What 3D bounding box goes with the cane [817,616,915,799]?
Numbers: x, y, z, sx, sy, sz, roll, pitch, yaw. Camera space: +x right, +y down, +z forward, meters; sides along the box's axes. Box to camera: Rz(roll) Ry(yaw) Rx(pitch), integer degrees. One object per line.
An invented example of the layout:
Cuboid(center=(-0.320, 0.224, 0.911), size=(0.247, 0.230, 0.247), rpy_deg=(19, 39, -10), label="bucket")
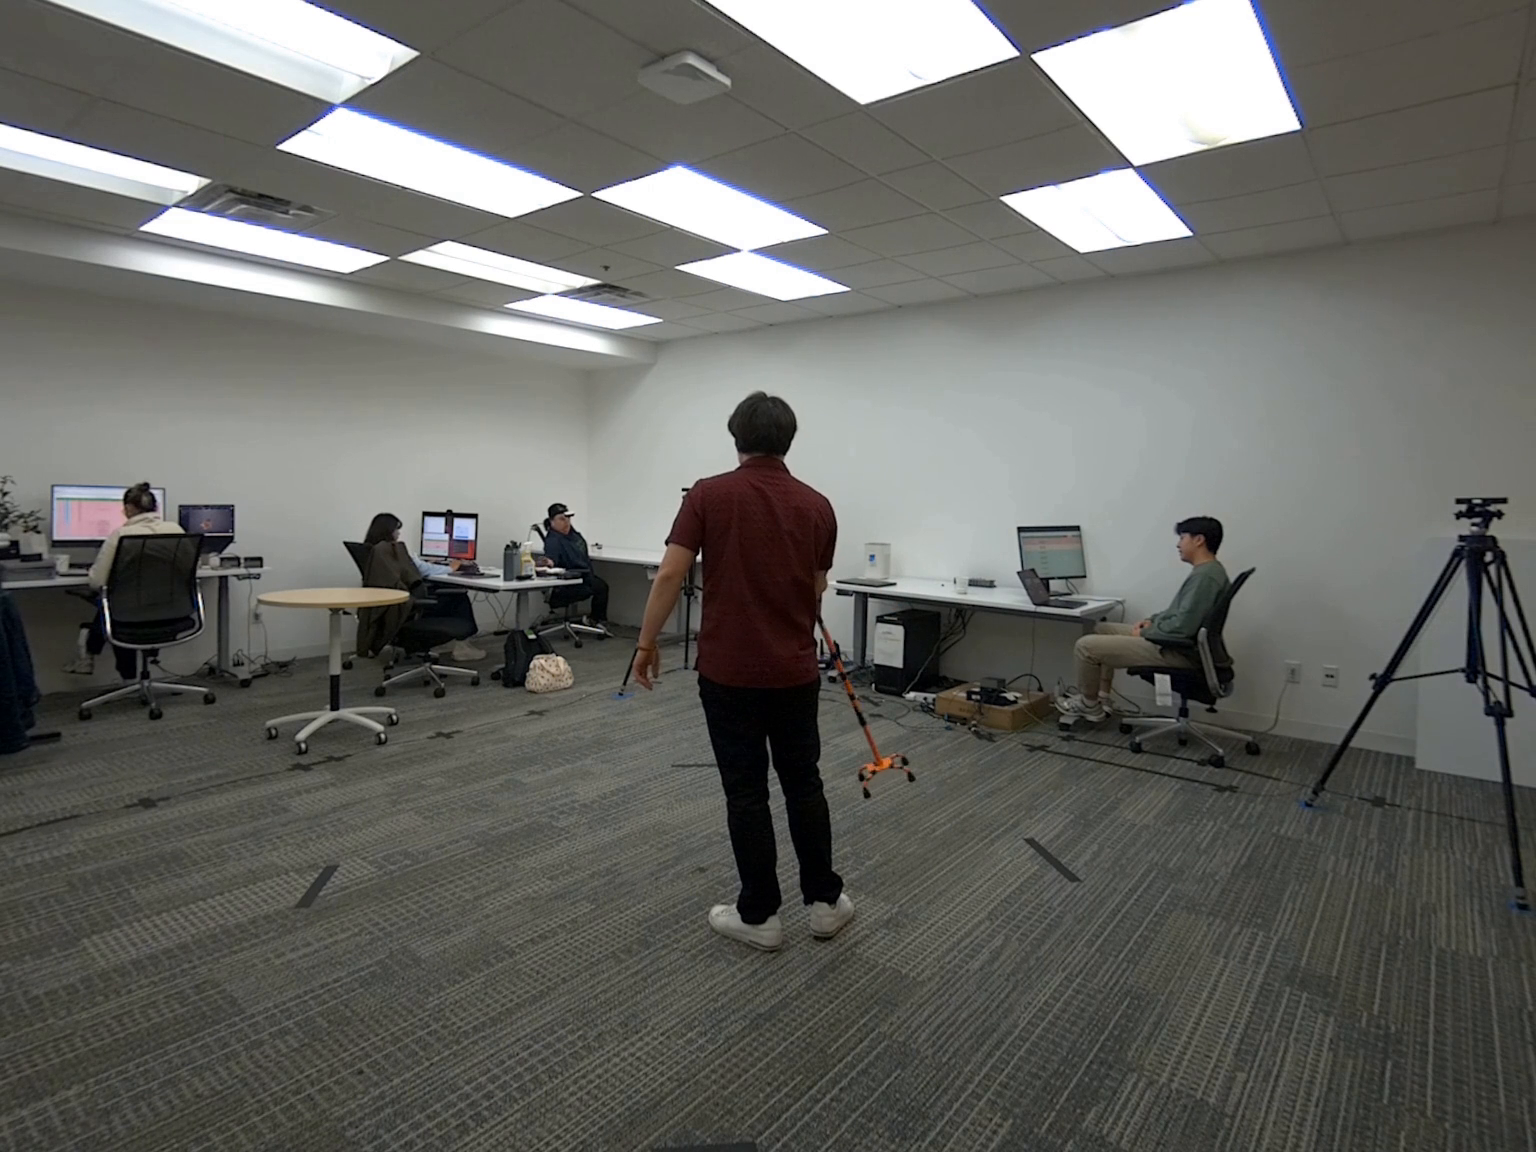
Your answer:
Cuboid(center=(0.278, 0.369, 3.131), size=(0.209, 0.895, 0.152), rpy_deg=(-19, 11, 18), label="cane")
